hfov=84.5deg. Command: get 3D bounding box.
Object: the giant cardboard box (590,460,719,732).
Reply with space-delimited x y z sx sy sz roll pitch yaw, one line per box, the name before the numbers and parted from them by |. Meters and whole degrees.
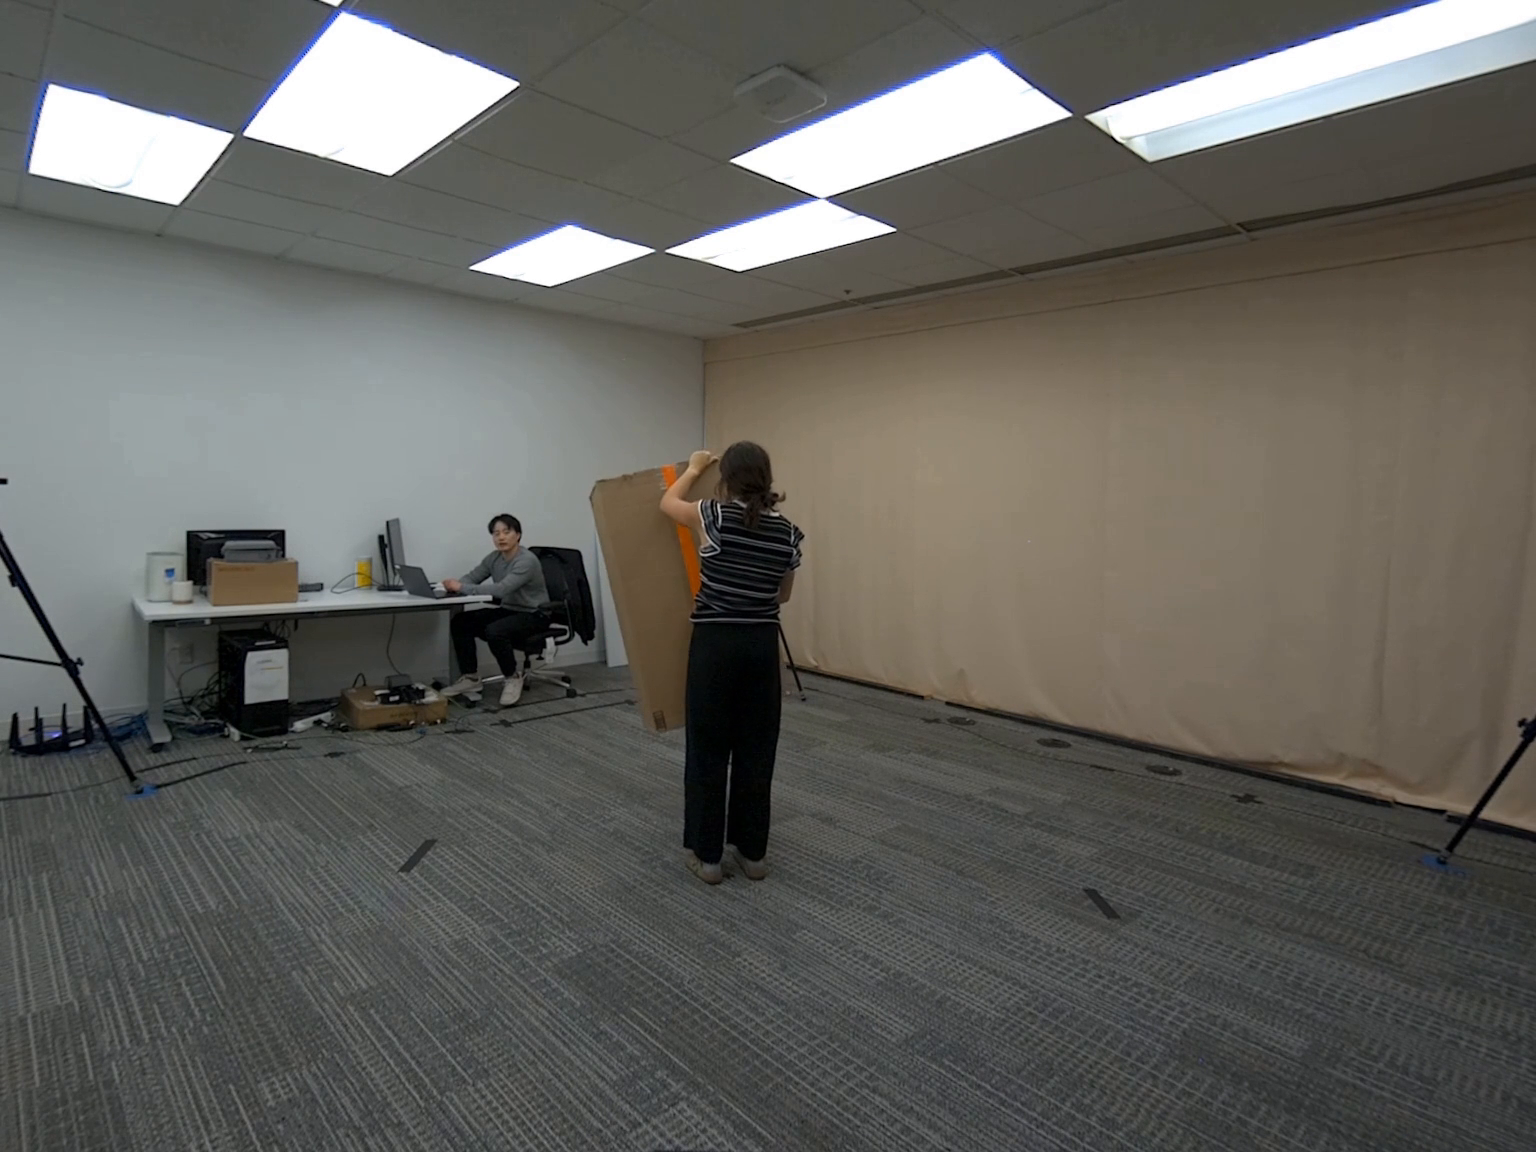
giant cardboard box | -0.353 0.071 3.549 0.572 1.029 0.429 -13 -3 -15
